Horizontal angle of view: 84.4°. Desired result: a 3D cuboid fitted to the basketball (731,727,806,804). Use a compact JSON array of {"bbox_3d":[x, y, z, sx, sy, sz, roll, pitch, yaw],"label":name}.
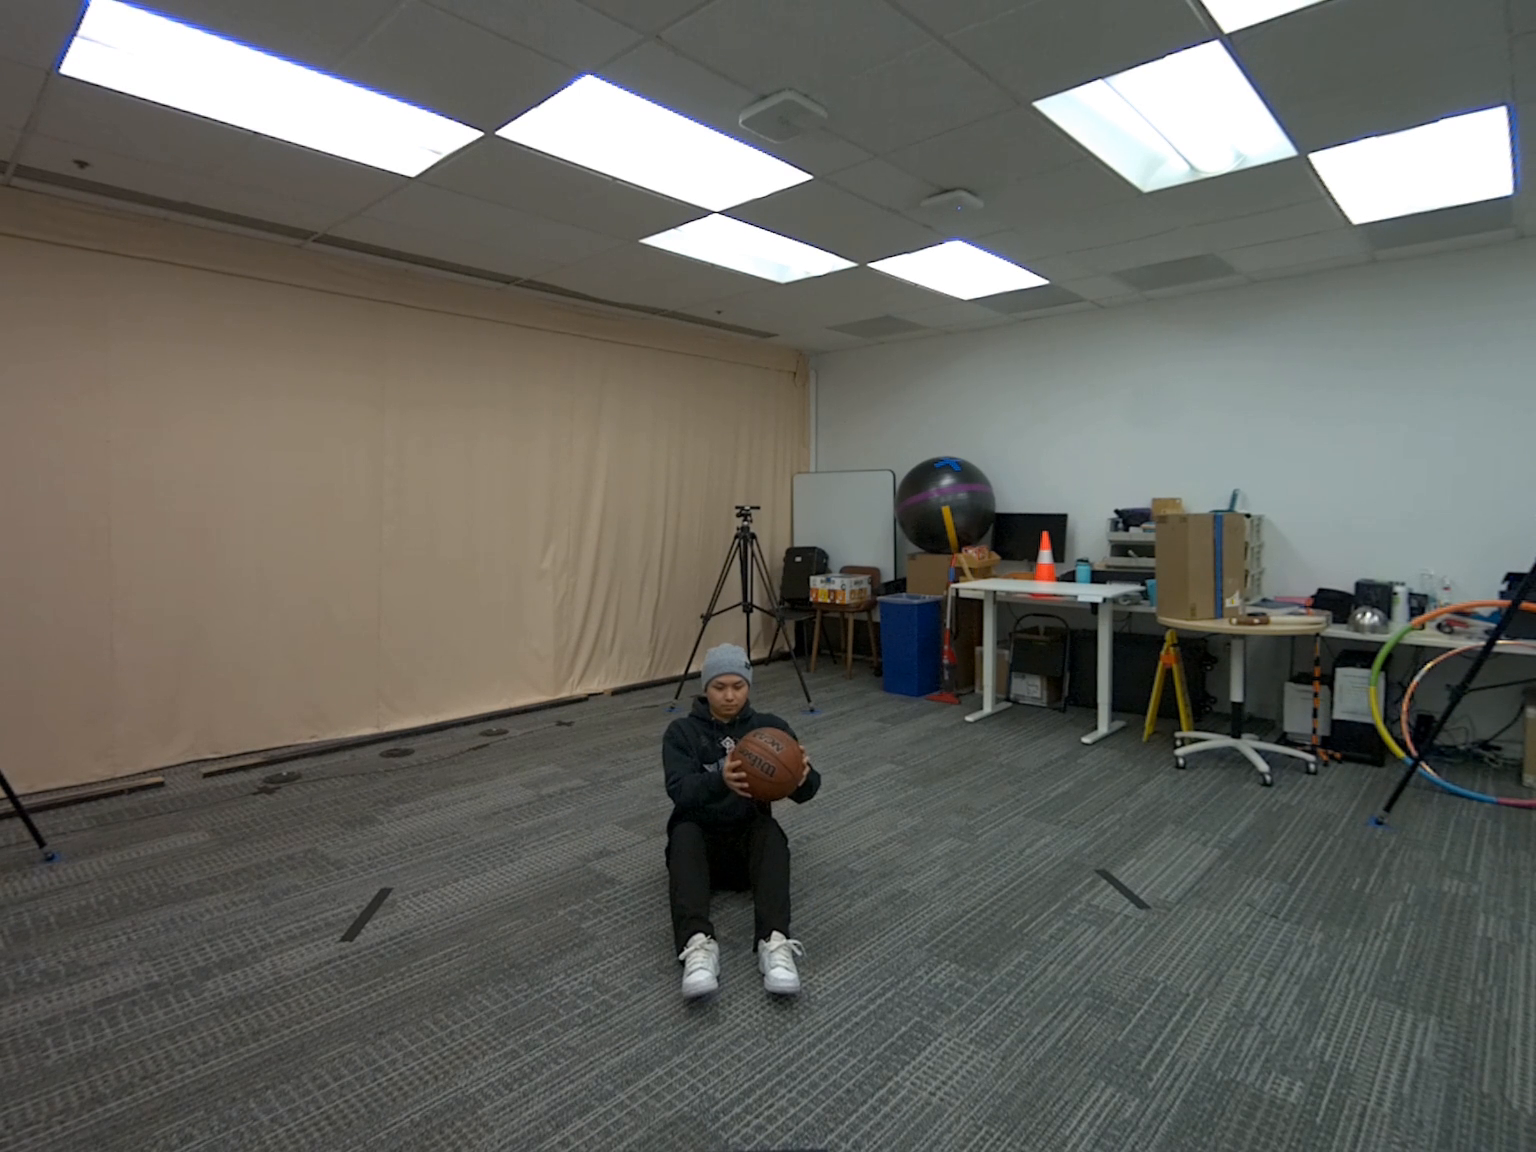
[{"bbox_3d":[0.001,0.624,2.789,0.236,0.235,0.237,0,4,-2],"label":"basketball"}]
